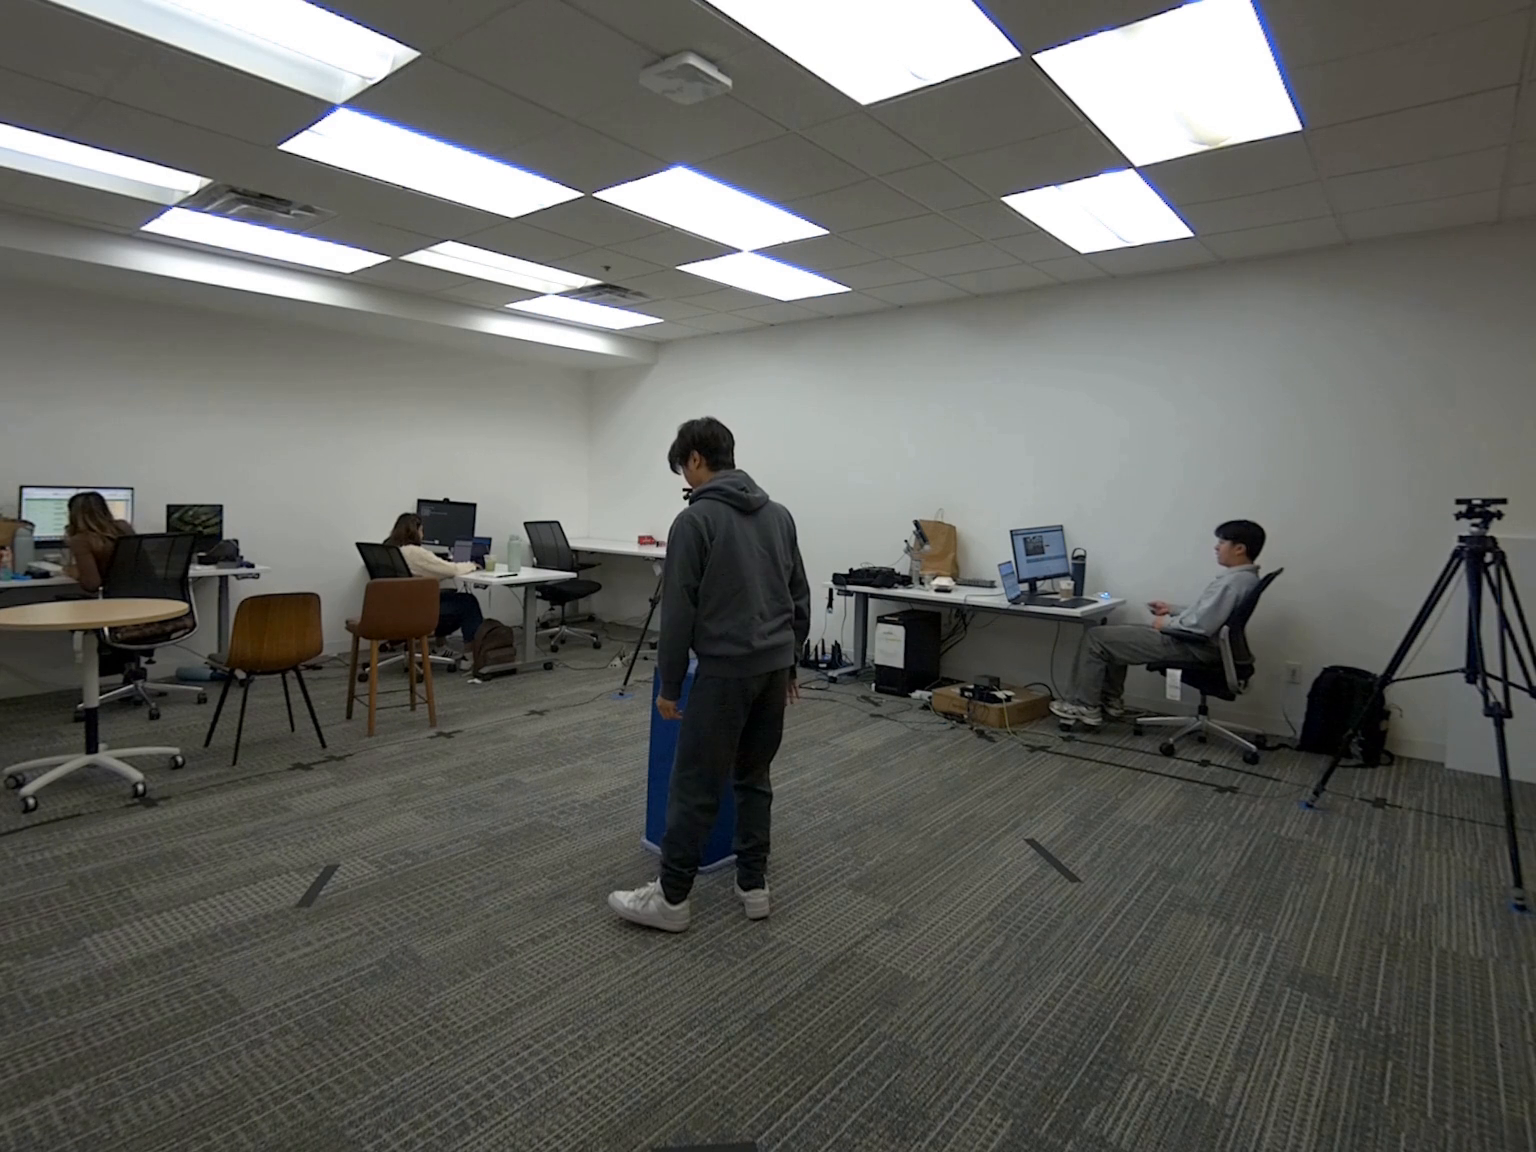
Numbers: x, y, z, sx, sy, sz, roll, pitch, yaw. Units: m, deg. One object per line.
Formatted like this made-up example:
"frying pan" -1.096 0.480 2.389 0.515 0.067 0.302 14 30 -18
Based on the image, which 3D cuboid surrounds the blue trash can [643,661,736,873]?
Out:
"blue trash can" -0.244 0.695 3.296 0.362 0.712 0.391 -1 3 -44
